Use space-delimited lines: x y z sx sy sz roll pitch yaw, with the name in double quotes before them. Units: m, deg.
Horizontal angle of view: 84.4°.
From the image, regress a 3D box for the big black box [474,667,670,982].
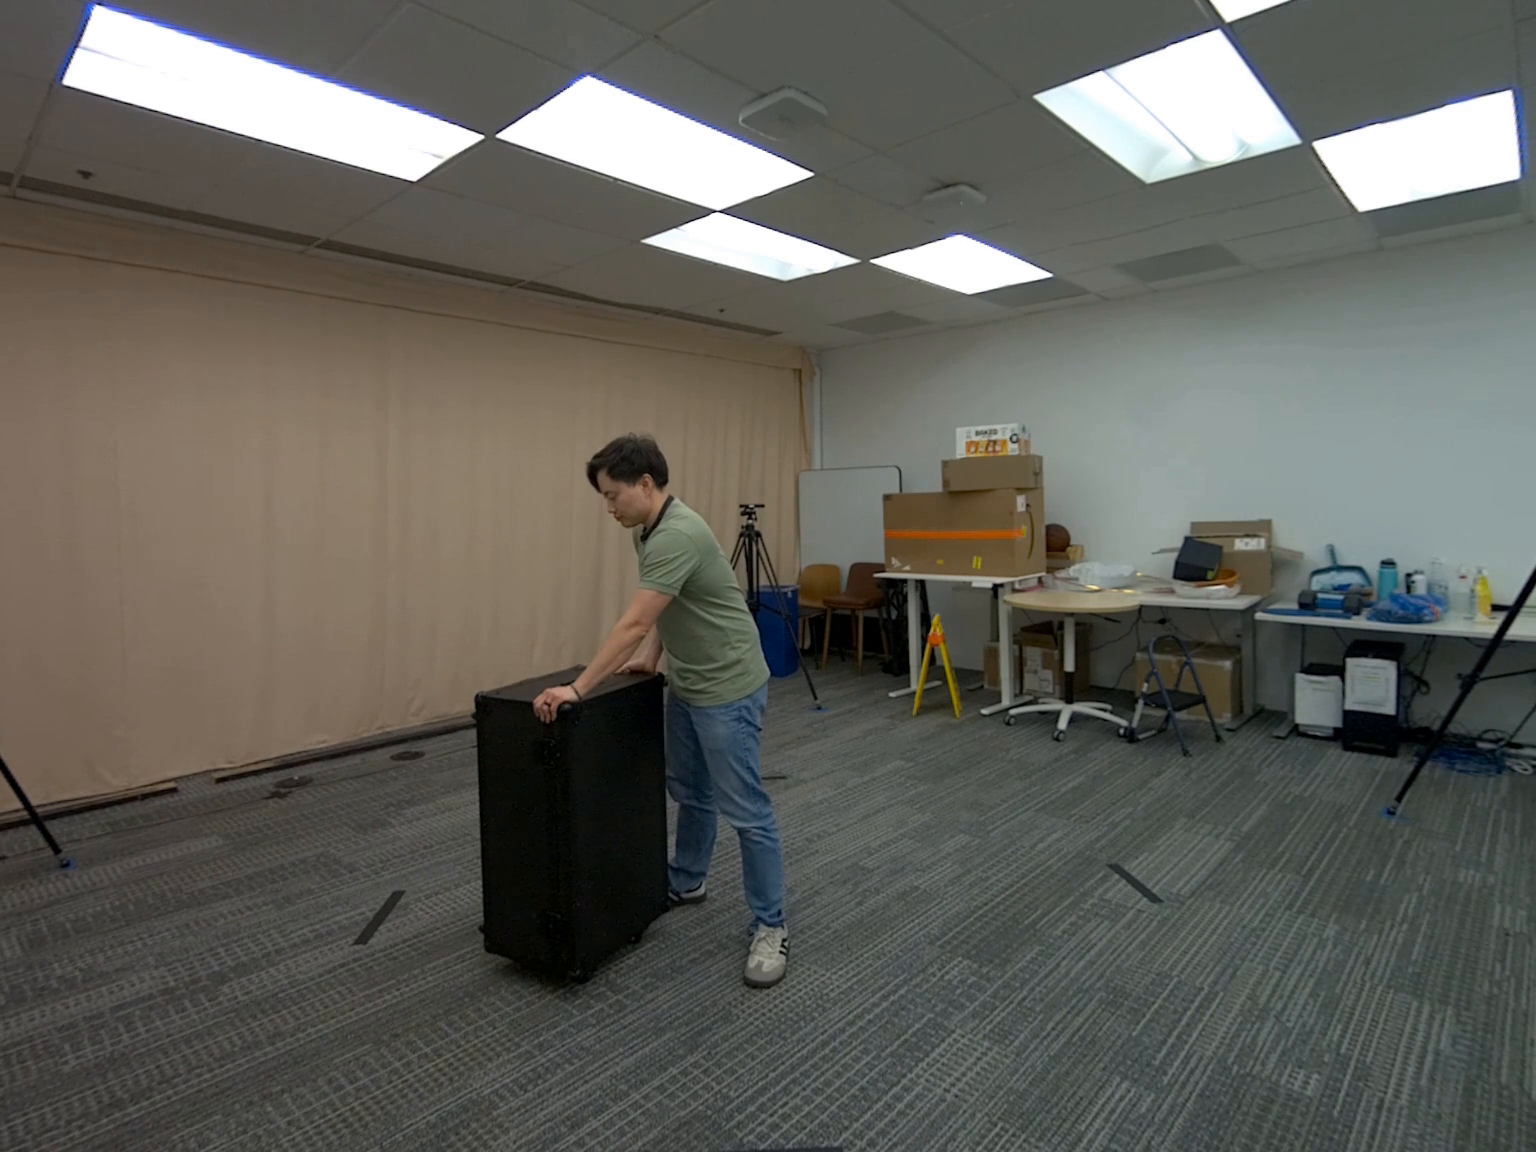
"big black box" -0.611 0.758 2.620 0.407 0.860 0.508 -1 2 29
